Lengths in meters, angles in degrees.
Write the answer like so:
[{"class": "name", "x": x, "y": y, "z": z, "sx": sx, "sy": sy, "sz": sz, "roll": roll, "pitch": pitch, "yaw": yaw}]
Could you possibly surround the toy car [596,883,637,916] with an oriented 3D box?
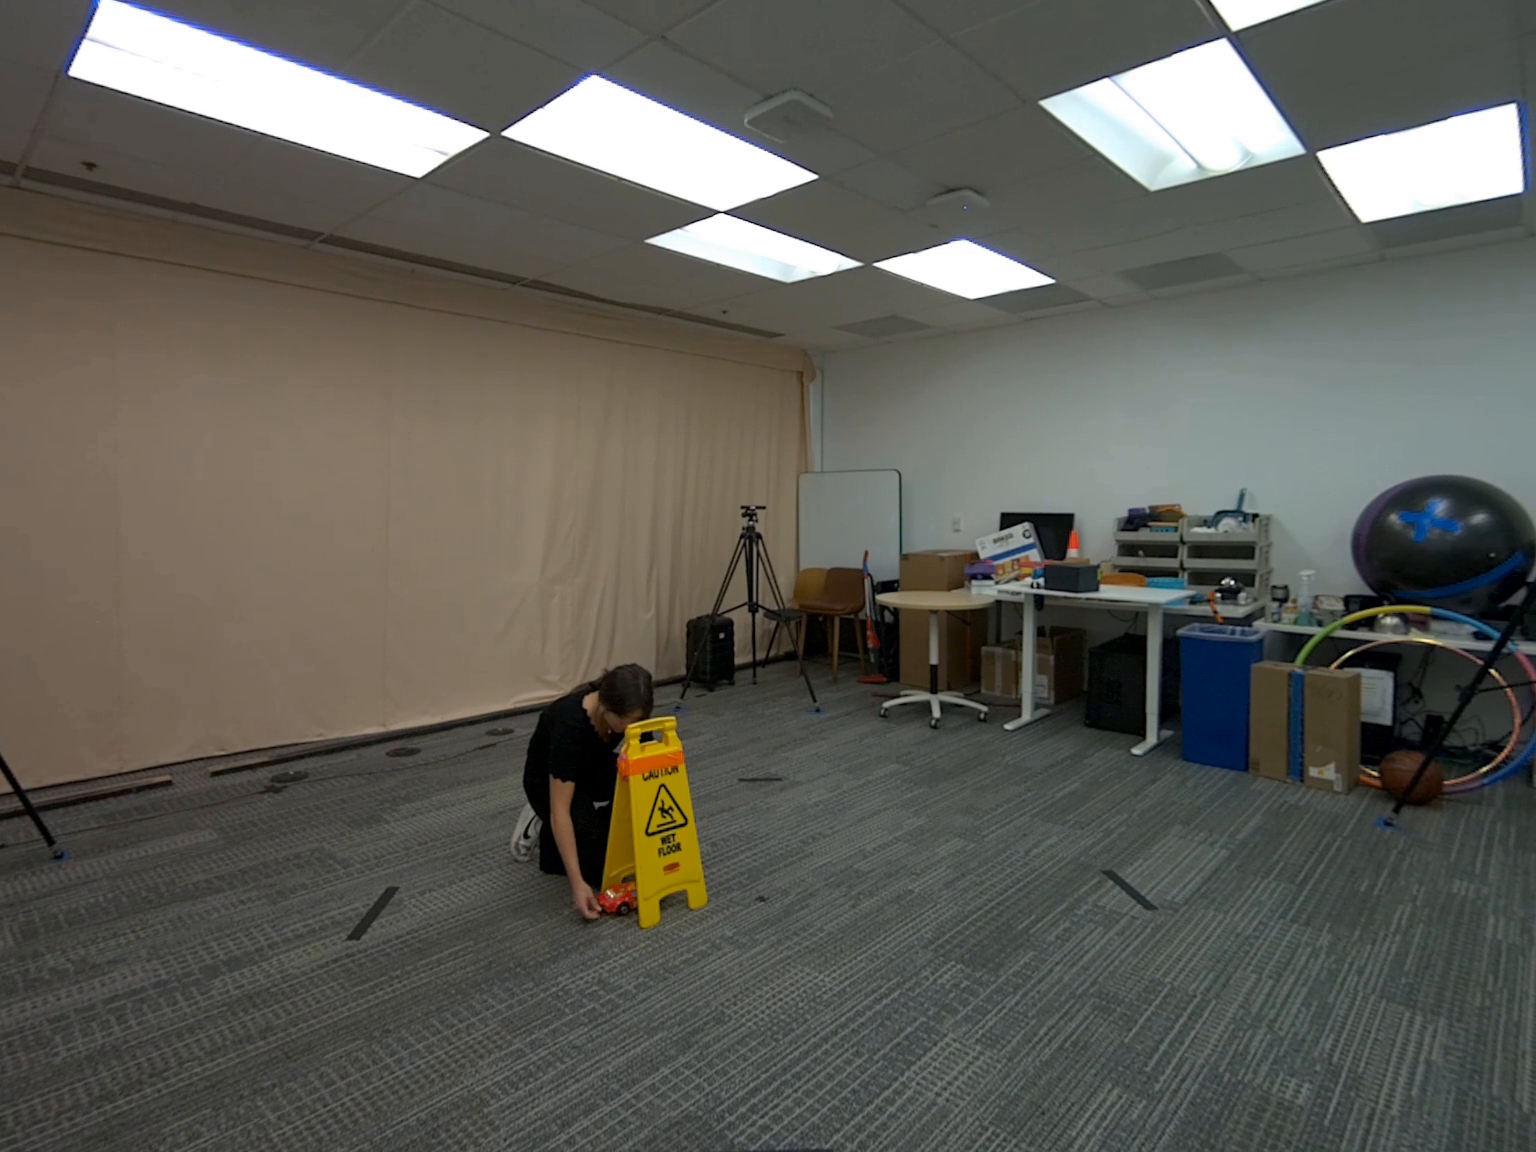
[{"class": "toy car", "x": -0.478, "y": 1.115, "z": 2.935, "sx": 0.247, "sy": 0.083, "sz": 0.134, "roll": 12, "pitch": -3, "yaw": -31}]
